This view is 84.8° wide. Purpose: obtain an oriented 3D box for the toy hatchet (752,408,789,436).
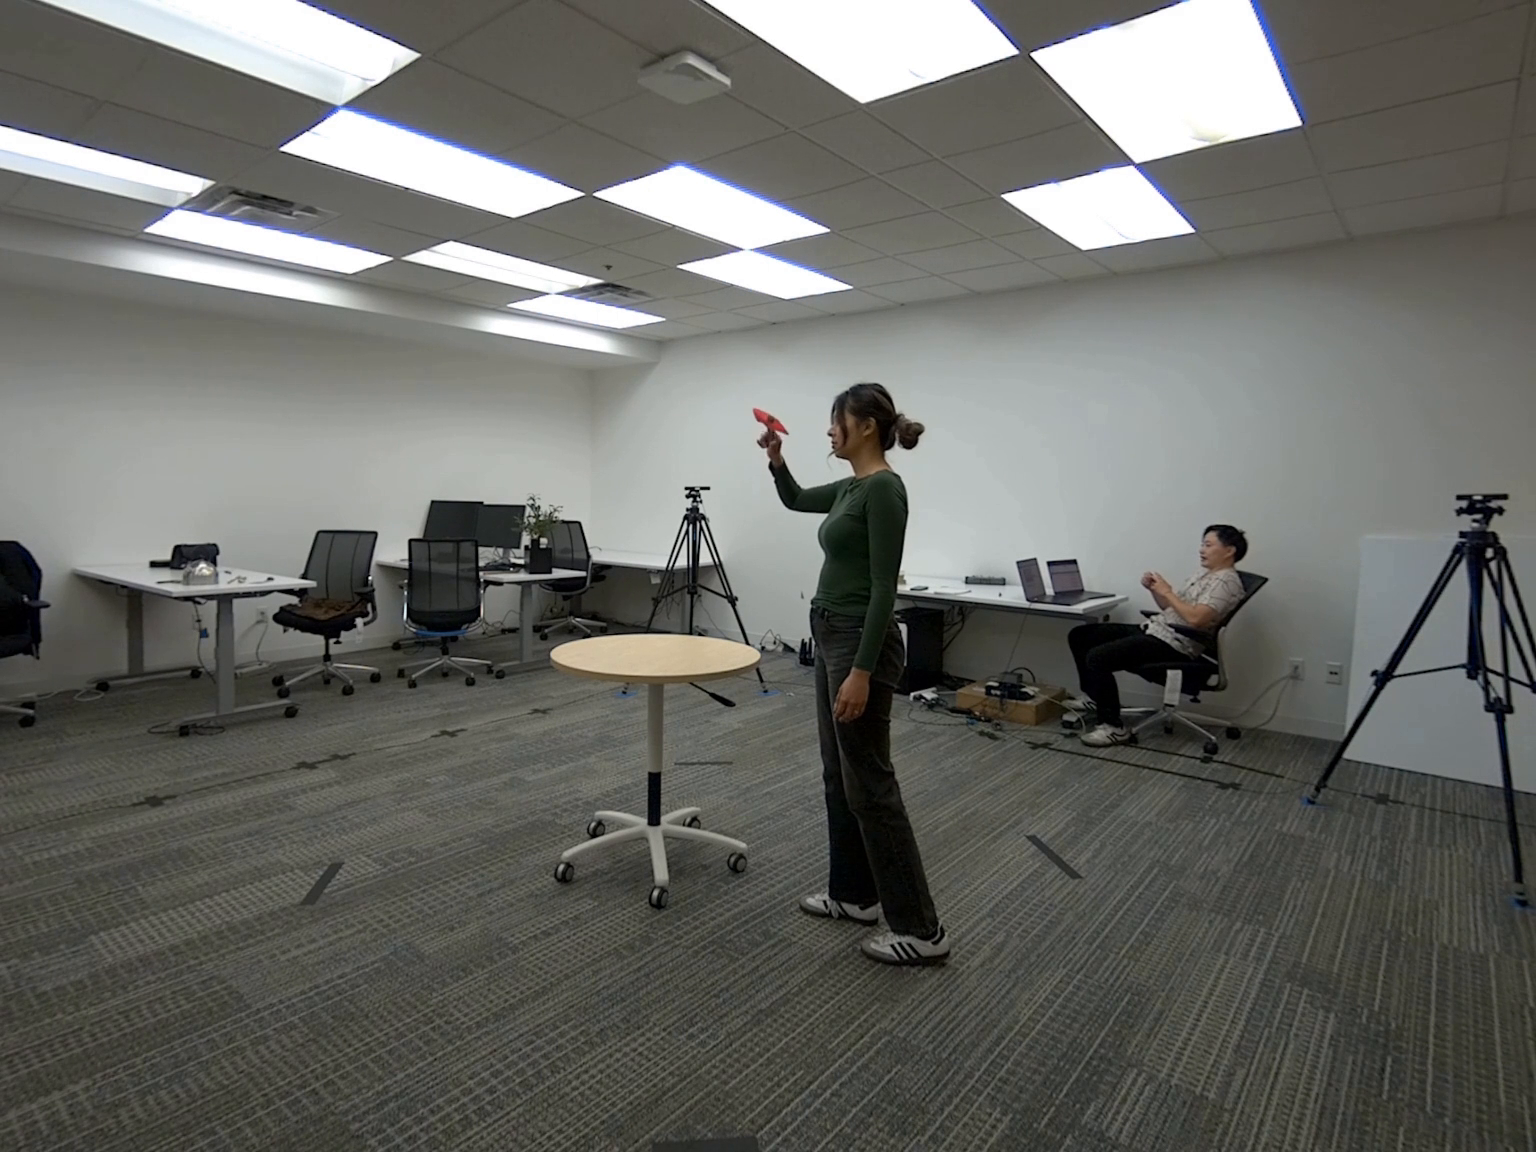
[{"bbox_3d":[-0.026,-0.469,2.700,0.129,0.029,0.273,39,-10,-9],"label":"toy hatchet"}]
